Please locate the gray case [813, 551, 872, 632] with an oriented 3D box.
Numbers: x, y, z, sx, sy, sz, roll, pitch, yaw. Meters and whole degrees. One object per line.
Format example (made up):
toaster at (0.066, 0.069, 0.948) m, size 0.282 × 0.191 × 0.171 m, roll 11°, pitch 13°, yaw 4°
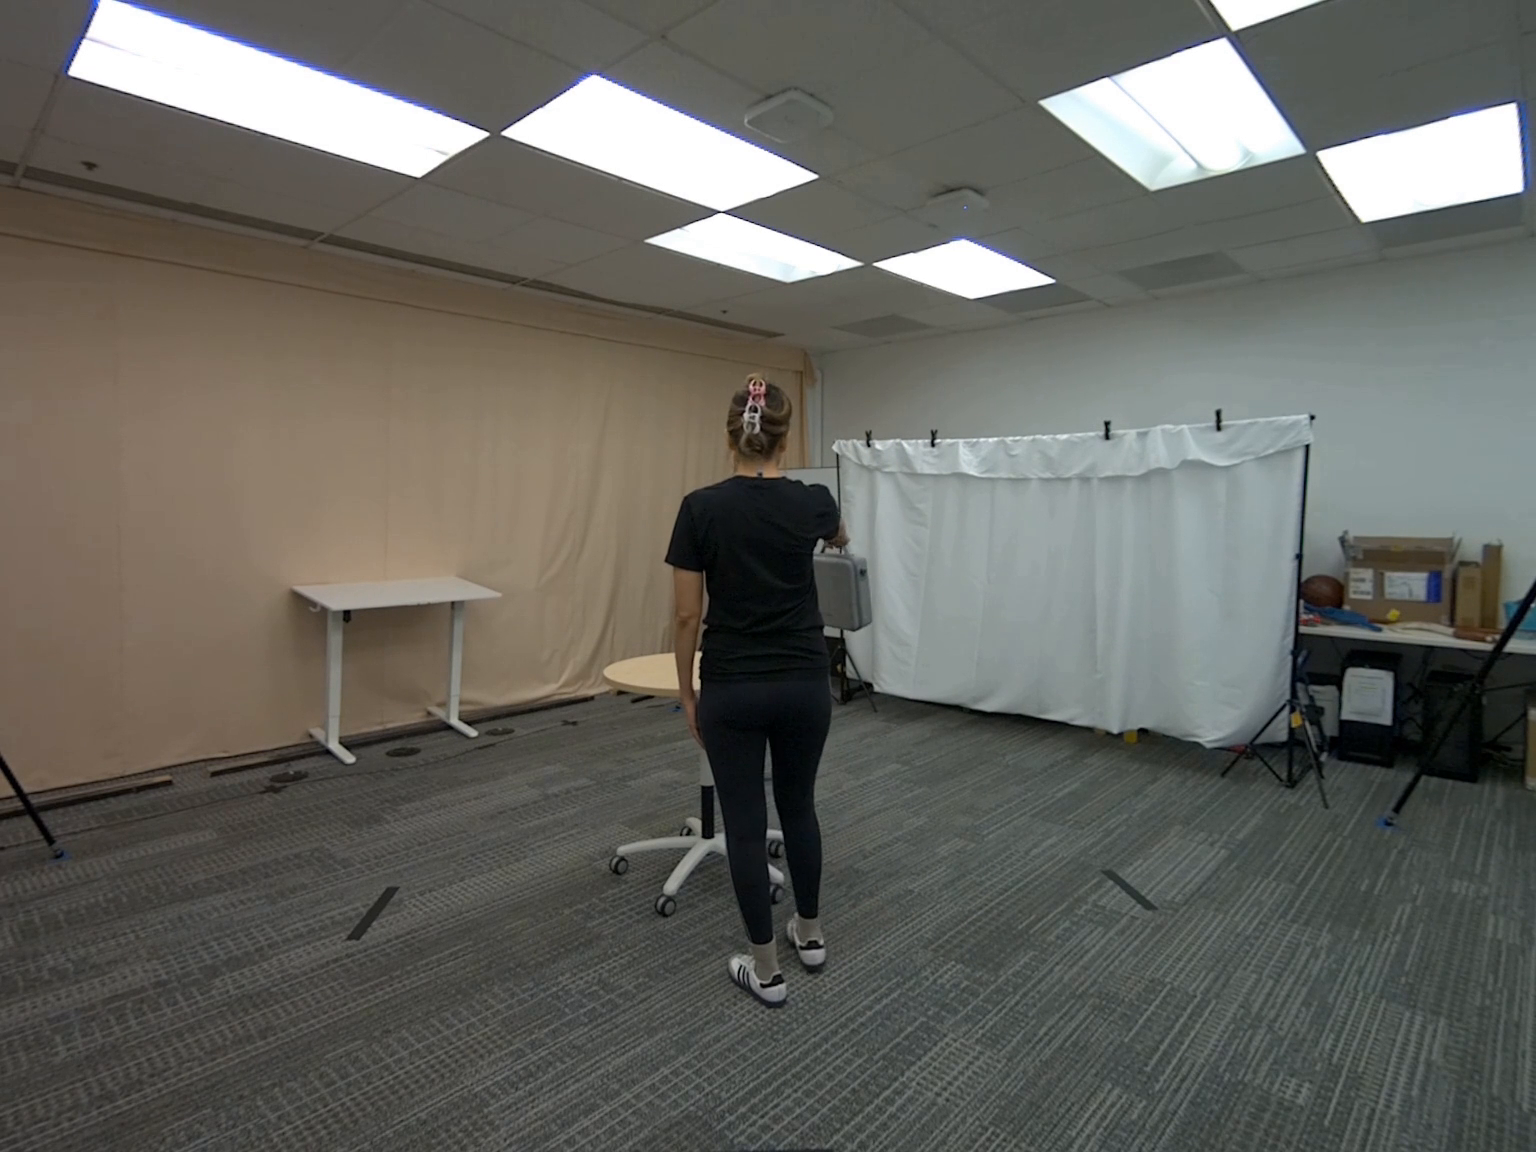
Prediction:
gray case at (0.230, 0.046, 2.926) m, size 0.101 × 0.259 × 0.265 m, roll -11°, pitch 12°, yaw -39°
